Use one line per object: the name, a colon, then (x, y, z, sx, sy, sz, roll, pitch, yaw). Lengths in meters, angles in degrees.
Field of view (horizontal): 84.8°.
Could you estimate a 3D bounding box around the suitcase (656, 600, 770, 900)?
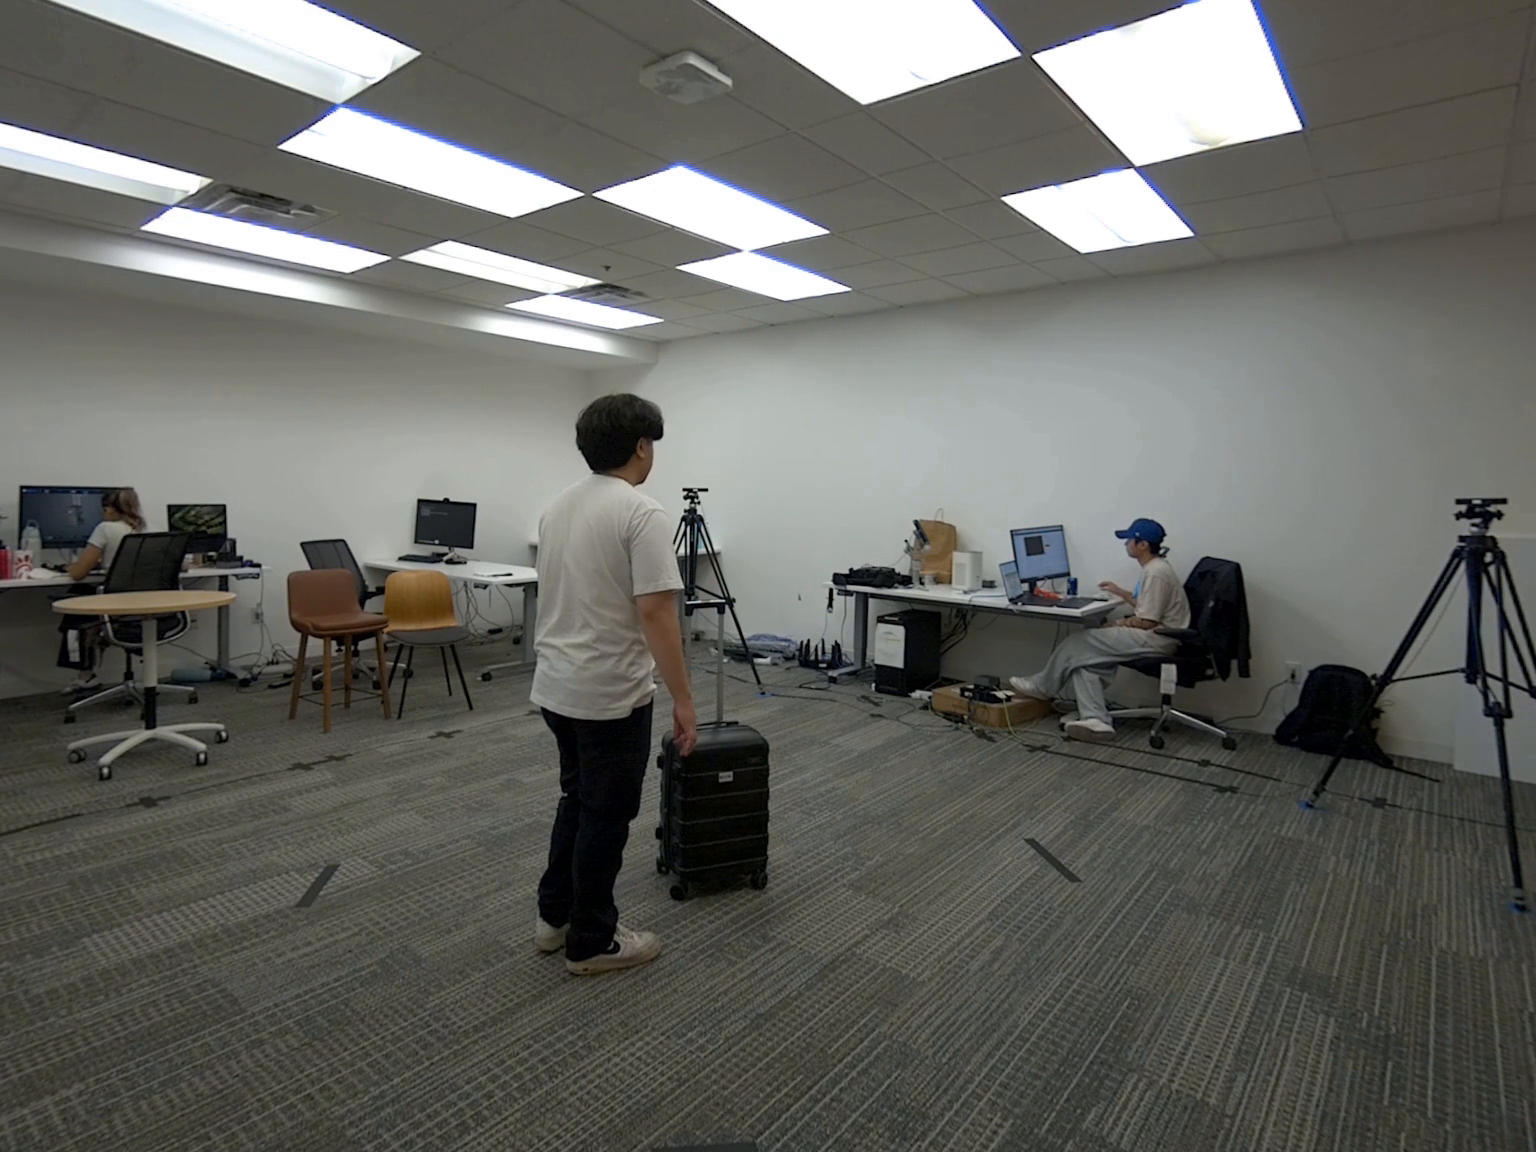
suitcase: (-0.195, 0.605, 3.009, 0.376, 0.975, 0.263, -1, 4, -22)
